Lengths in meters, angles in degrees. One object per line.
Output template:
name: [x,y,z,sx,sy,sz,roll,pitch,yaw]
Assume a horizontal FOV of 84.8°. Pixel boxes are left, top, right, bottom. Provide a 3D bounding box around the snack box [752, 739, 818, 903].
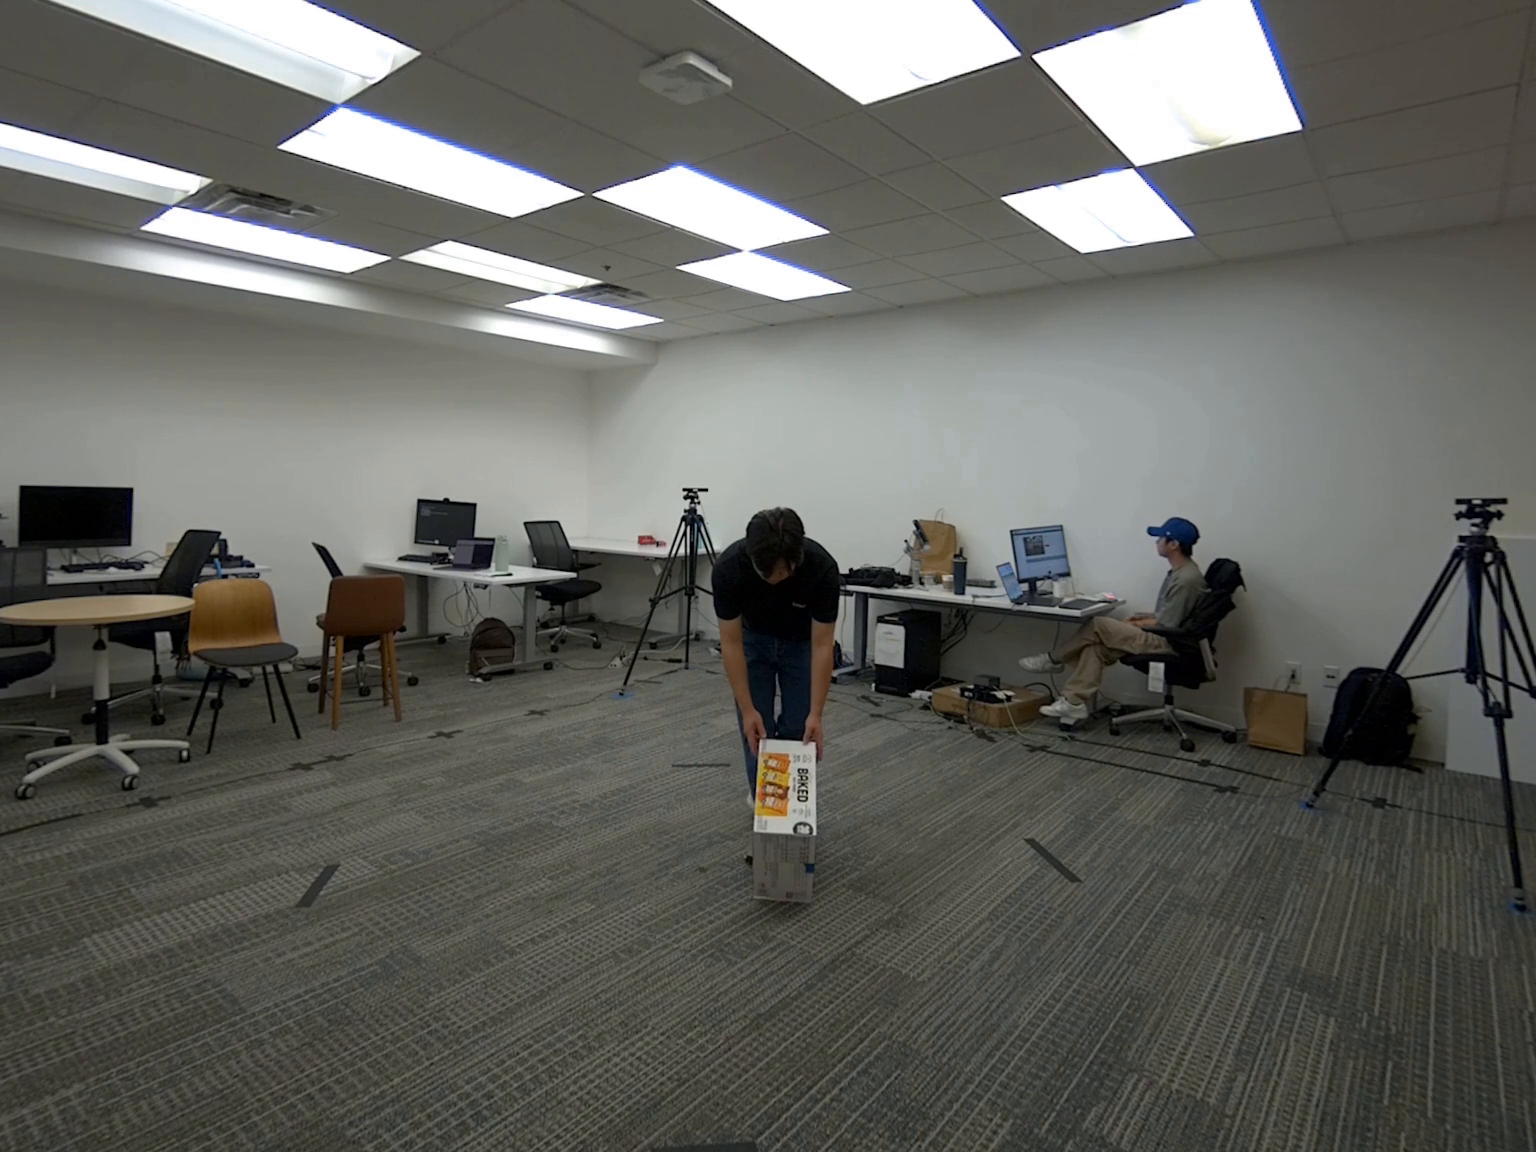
snack box: [0.050,0.840,2.965,0.207,0.331,0.414,2,33,3]
